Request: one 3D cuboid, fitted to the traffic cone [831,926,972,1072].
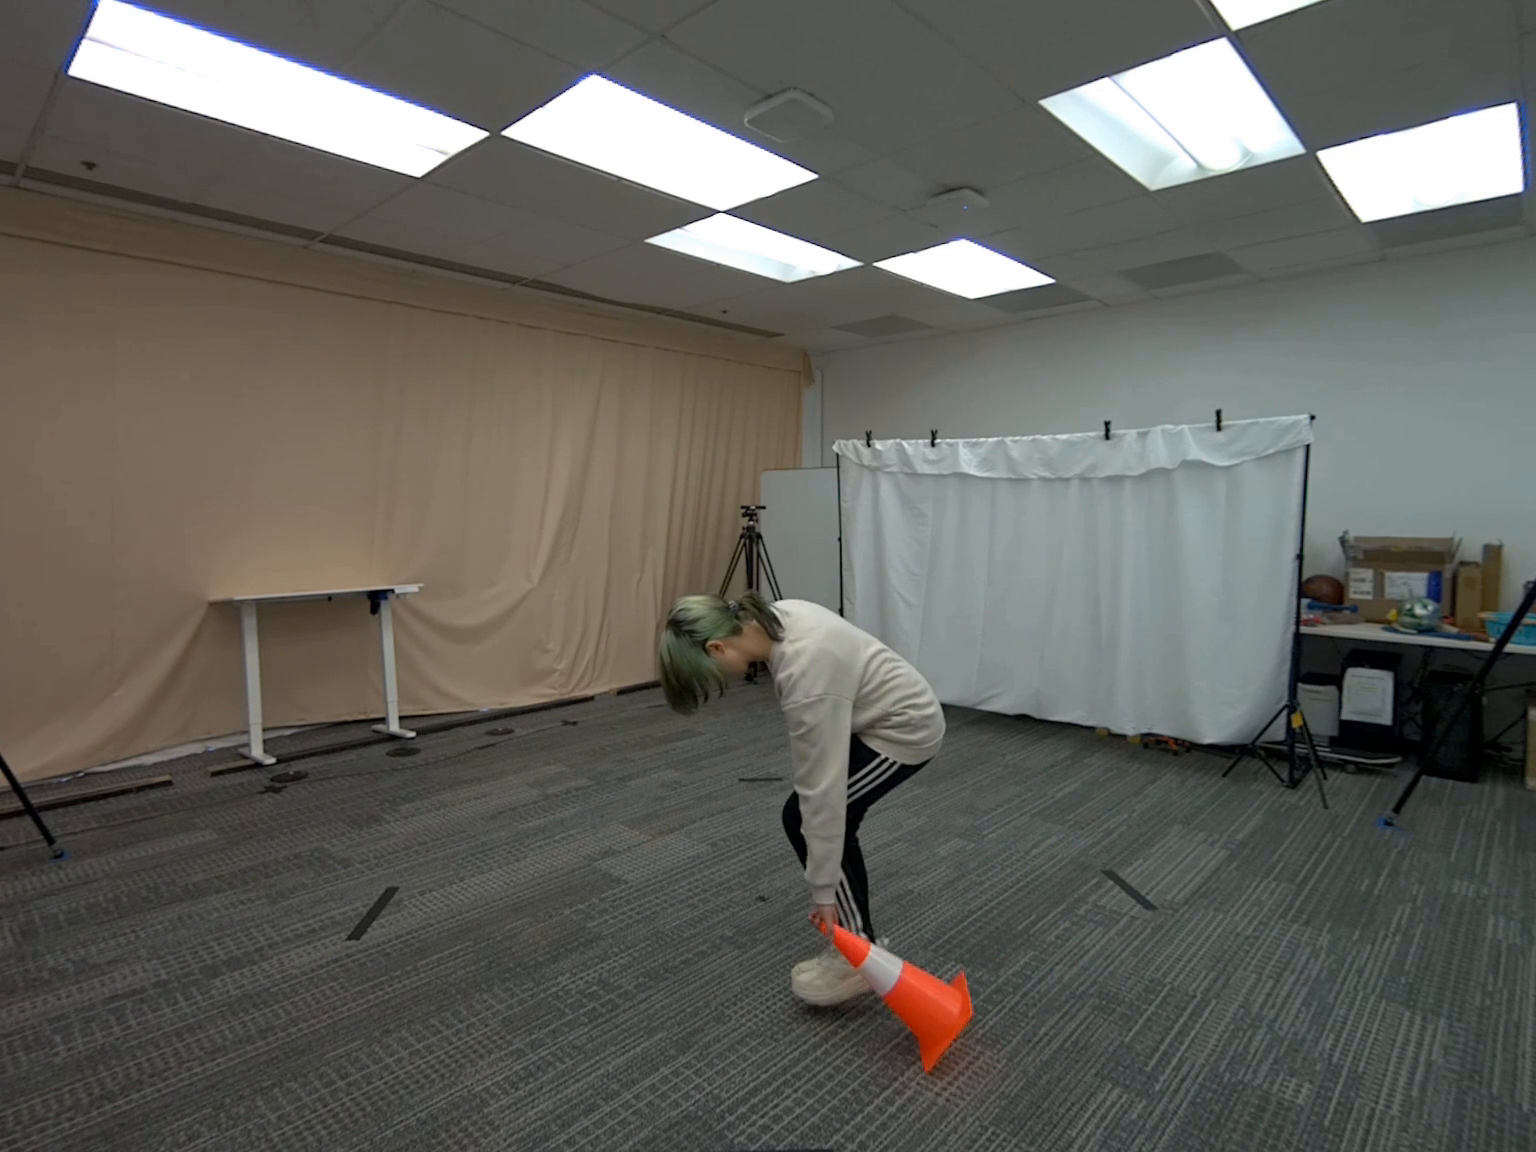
[{"bbox_3d":[0.300,1.019,2.138,0.385,0.203,0.204,36,9,2],"label":"traffic cone"}]
